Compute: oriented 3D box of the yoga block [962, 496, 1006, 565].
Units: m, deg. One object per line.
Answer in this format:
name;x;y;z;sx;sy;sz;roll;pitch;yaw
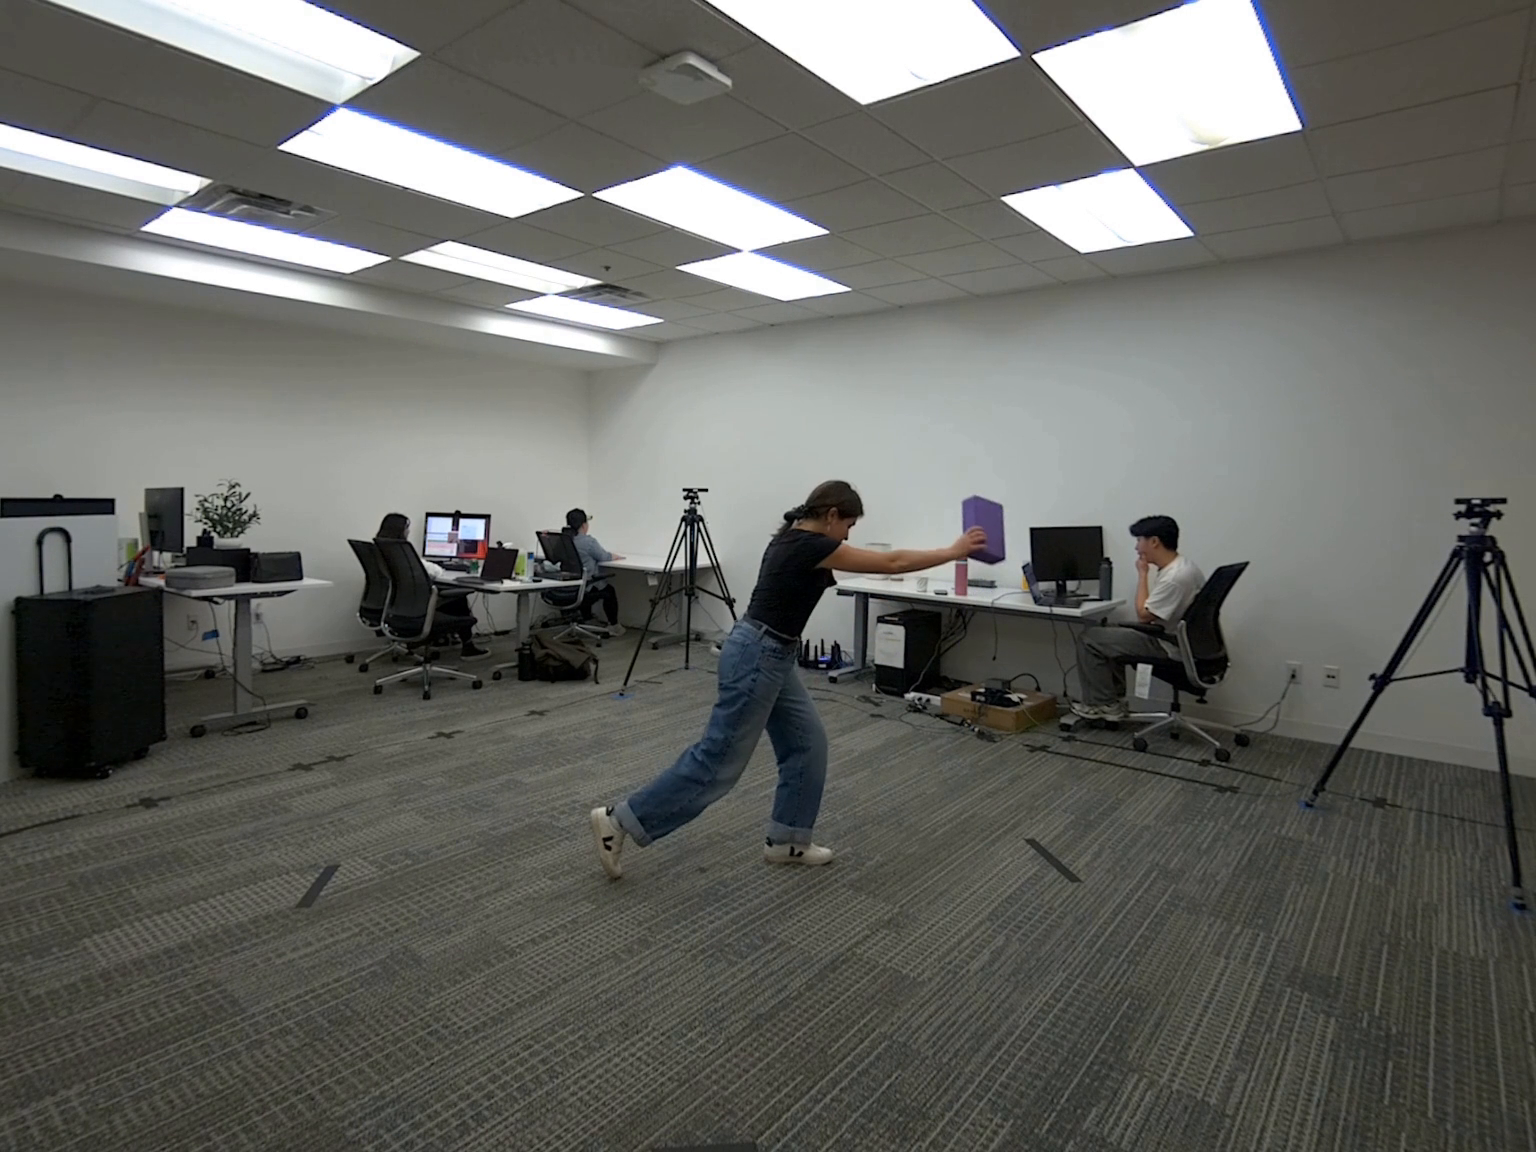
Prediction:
yoga block;0.779;-0.161;3.141;0.145;0.232;0.077;15;-20;-23
